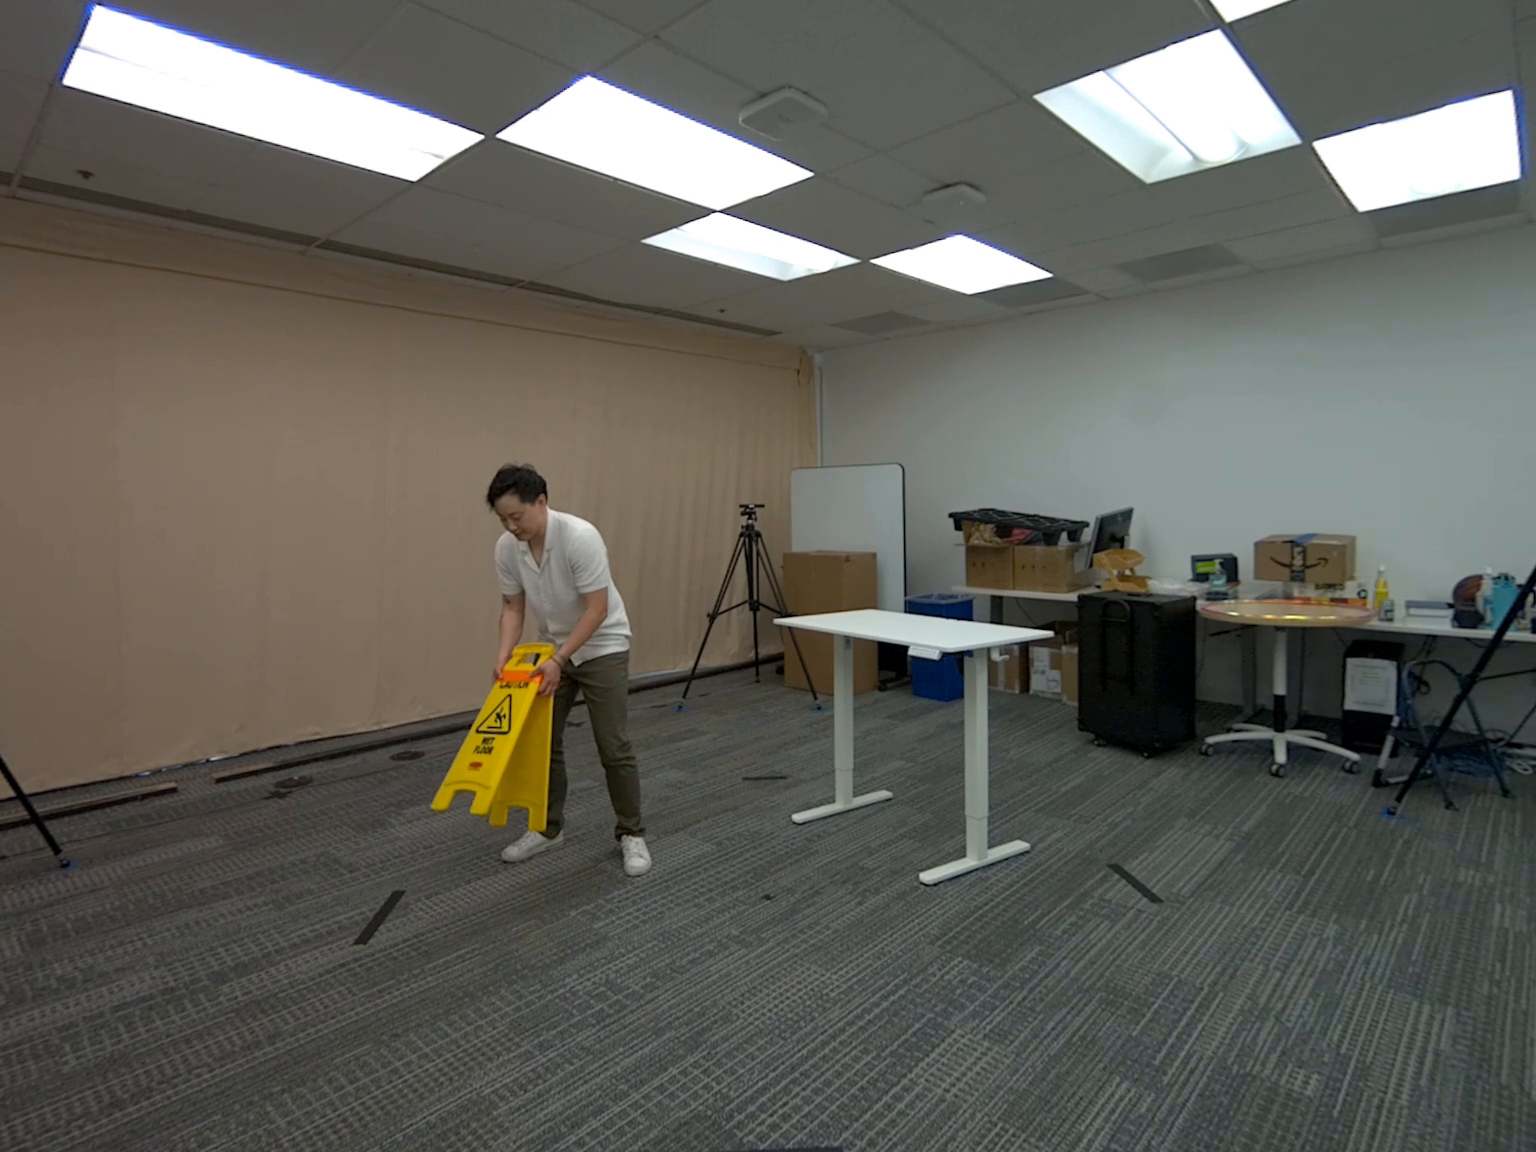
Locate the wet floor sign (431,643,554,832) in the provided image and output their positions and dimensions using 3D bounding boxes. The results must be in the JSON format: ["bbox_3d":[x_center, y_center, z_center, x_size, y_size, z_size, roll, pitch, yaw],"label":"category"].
[{"bbox_3d":[-0.911,0.548,3.047,0.290,0.652,0.279,-8,-29,32],"label":"wet floor sign"}]
